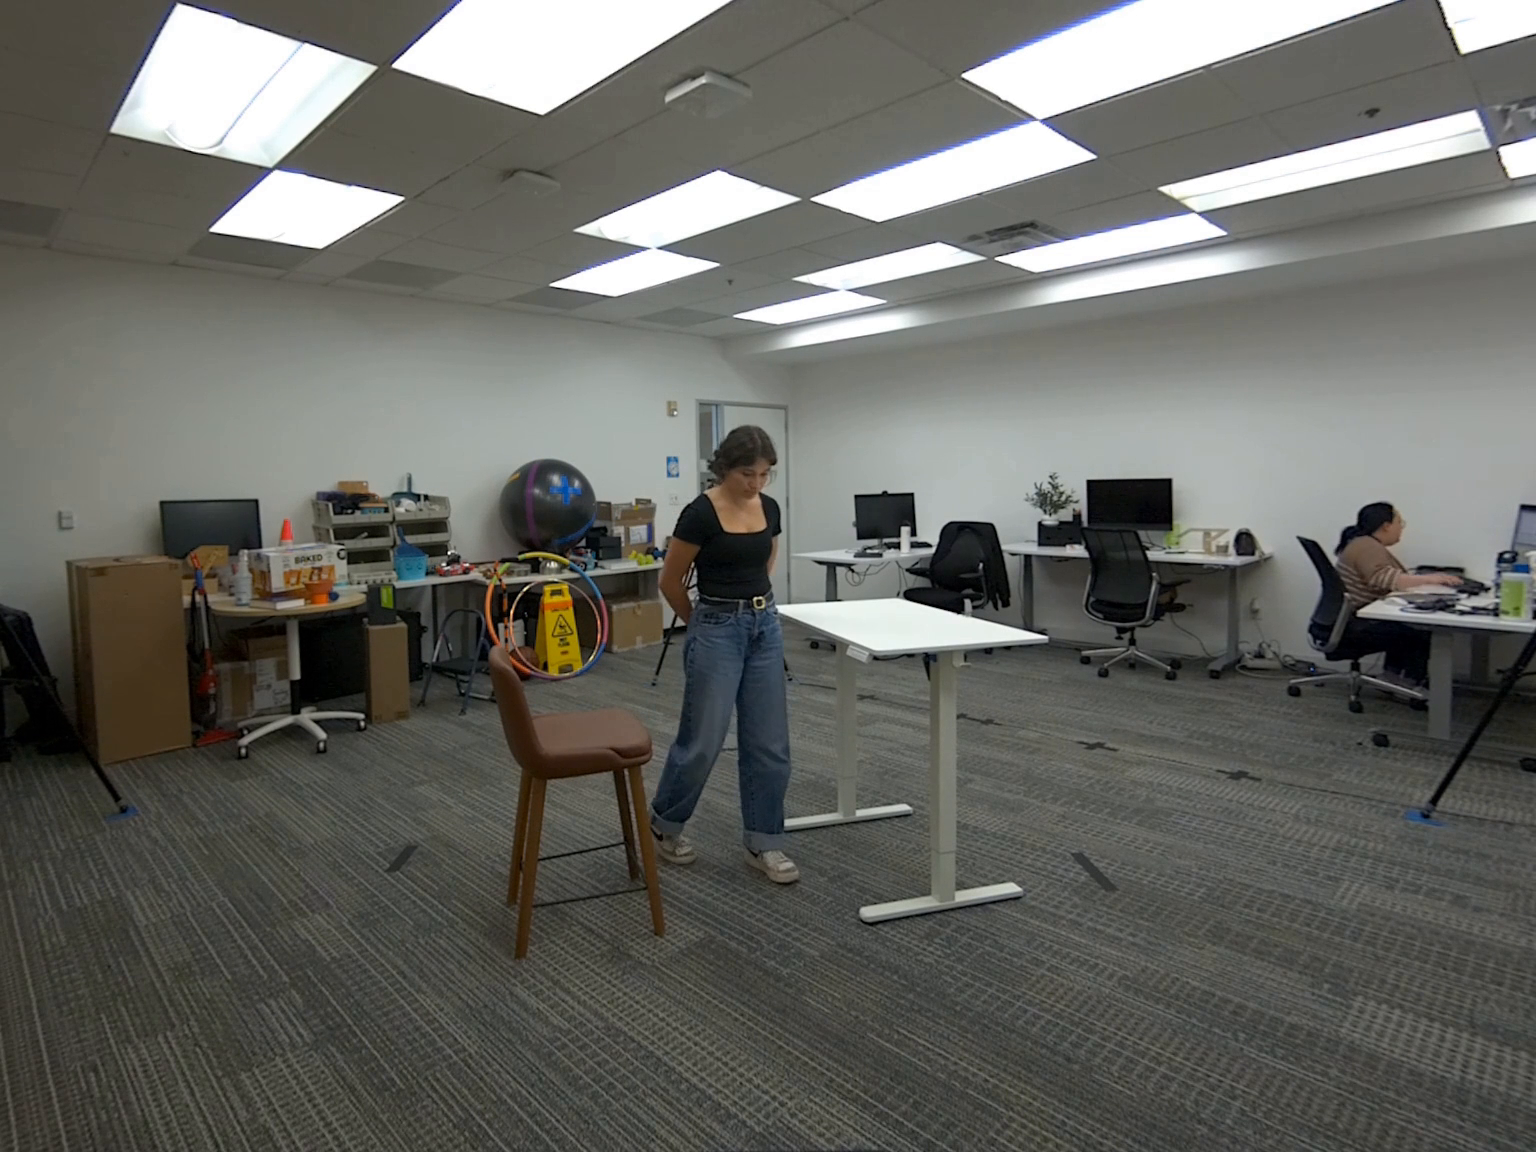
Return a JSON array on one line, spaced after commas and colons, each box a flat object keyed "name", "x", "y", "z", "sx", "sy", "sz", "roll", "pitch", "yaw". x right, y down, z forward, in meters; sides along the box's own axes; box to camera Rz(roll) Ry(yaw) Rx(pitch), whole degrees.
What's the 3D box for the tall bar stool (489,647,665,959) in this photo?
[{"name": "tall bar stool", "x": -0.608, "y": 0.666, "z": 2.721, "sx": 0.460, "sy": 0.886, "sz": 0.466, "roll": -4, "pitch": 5, "yaw": -19}]
